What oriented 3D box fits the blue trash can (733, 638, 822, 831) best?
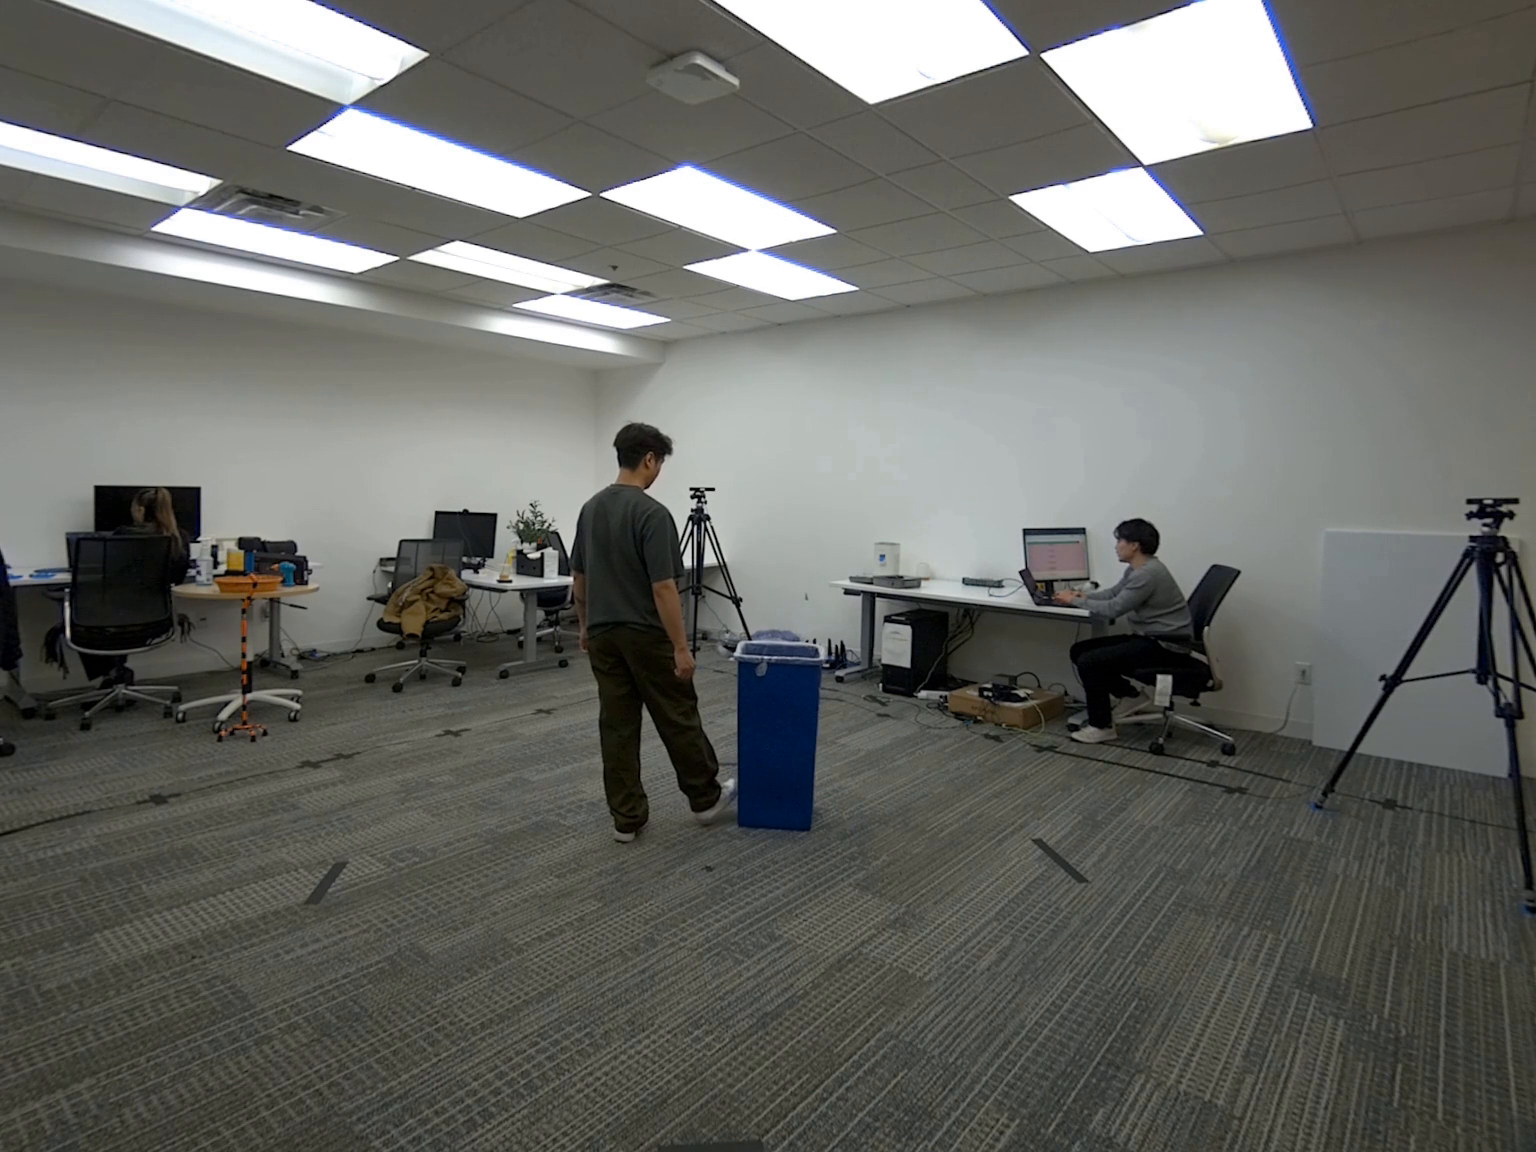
[{"bbox_3d":[0.028,0.667,3.615,0.376,0.712,0.377,3,3,3],"label":"blue trash can"}]
